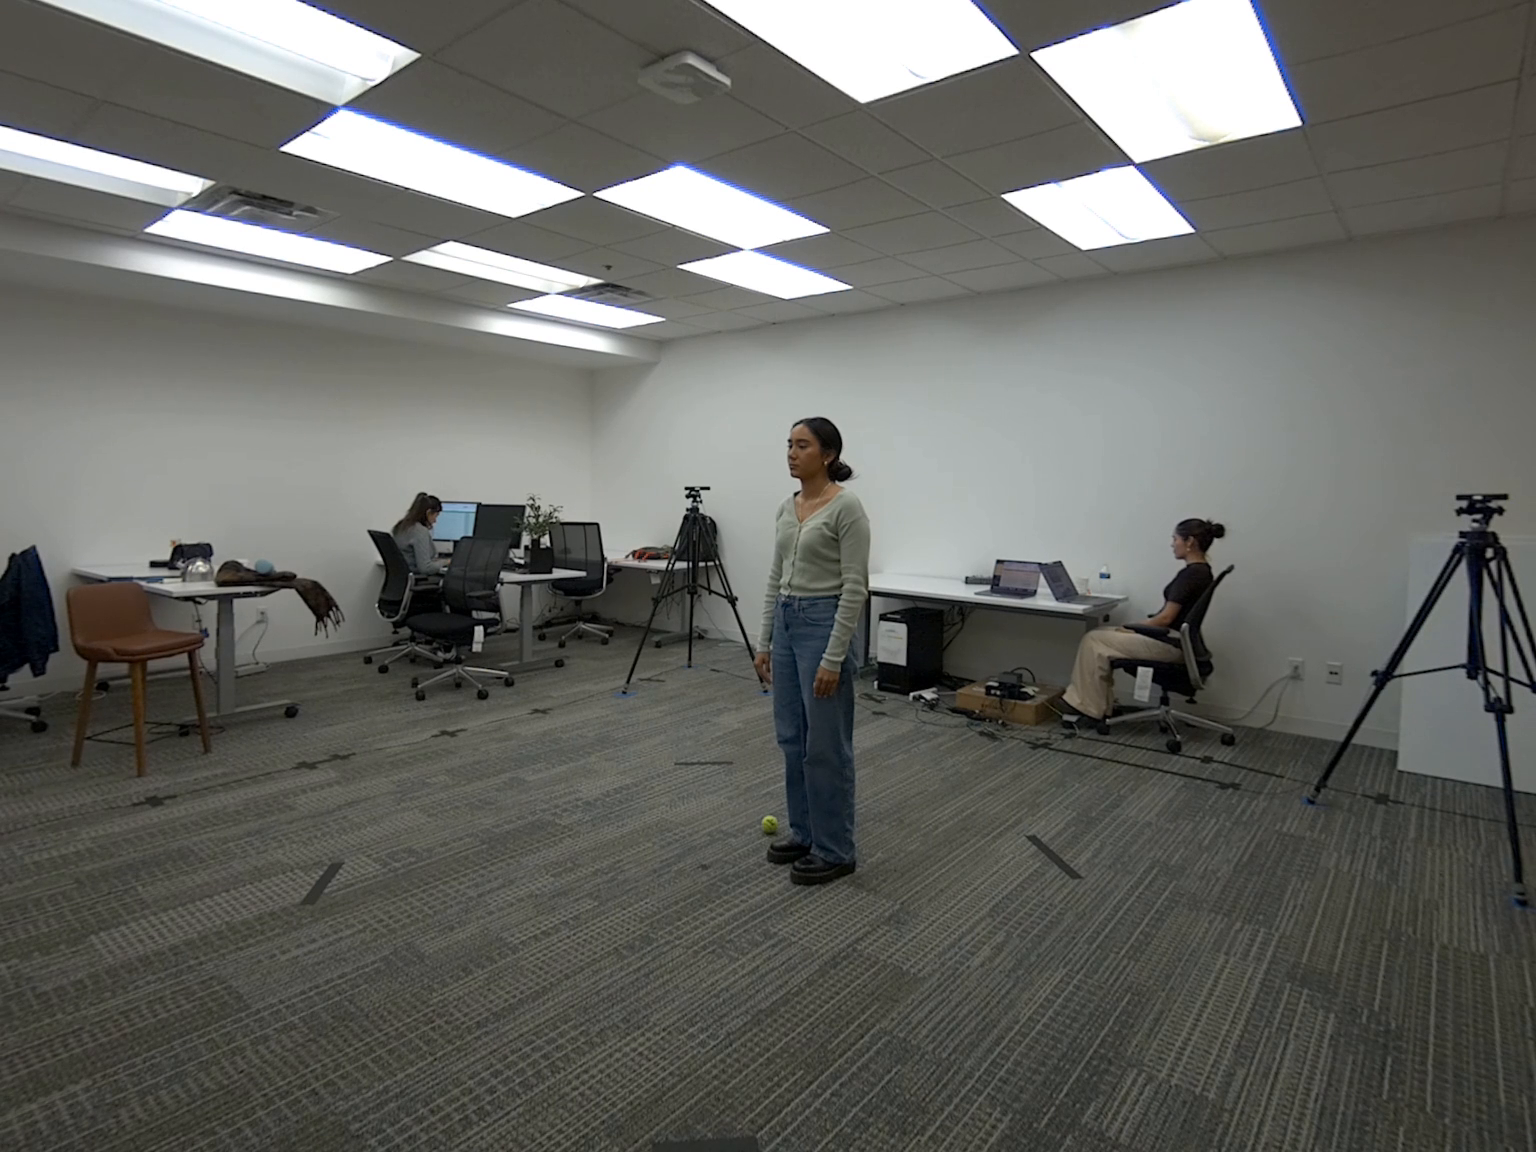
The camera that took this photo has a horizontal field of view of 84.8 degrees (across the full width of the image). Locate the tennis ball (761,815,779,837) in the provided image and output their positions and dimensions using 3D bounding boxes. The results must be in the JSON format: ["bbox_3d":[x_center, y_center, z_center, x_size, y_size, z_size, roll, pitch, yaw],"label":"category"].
[{"bbox_3d":[-0.003,0.989,3.449,0.066,0.066,0.067,1,4,-2],"label":"tennis ball"}]
